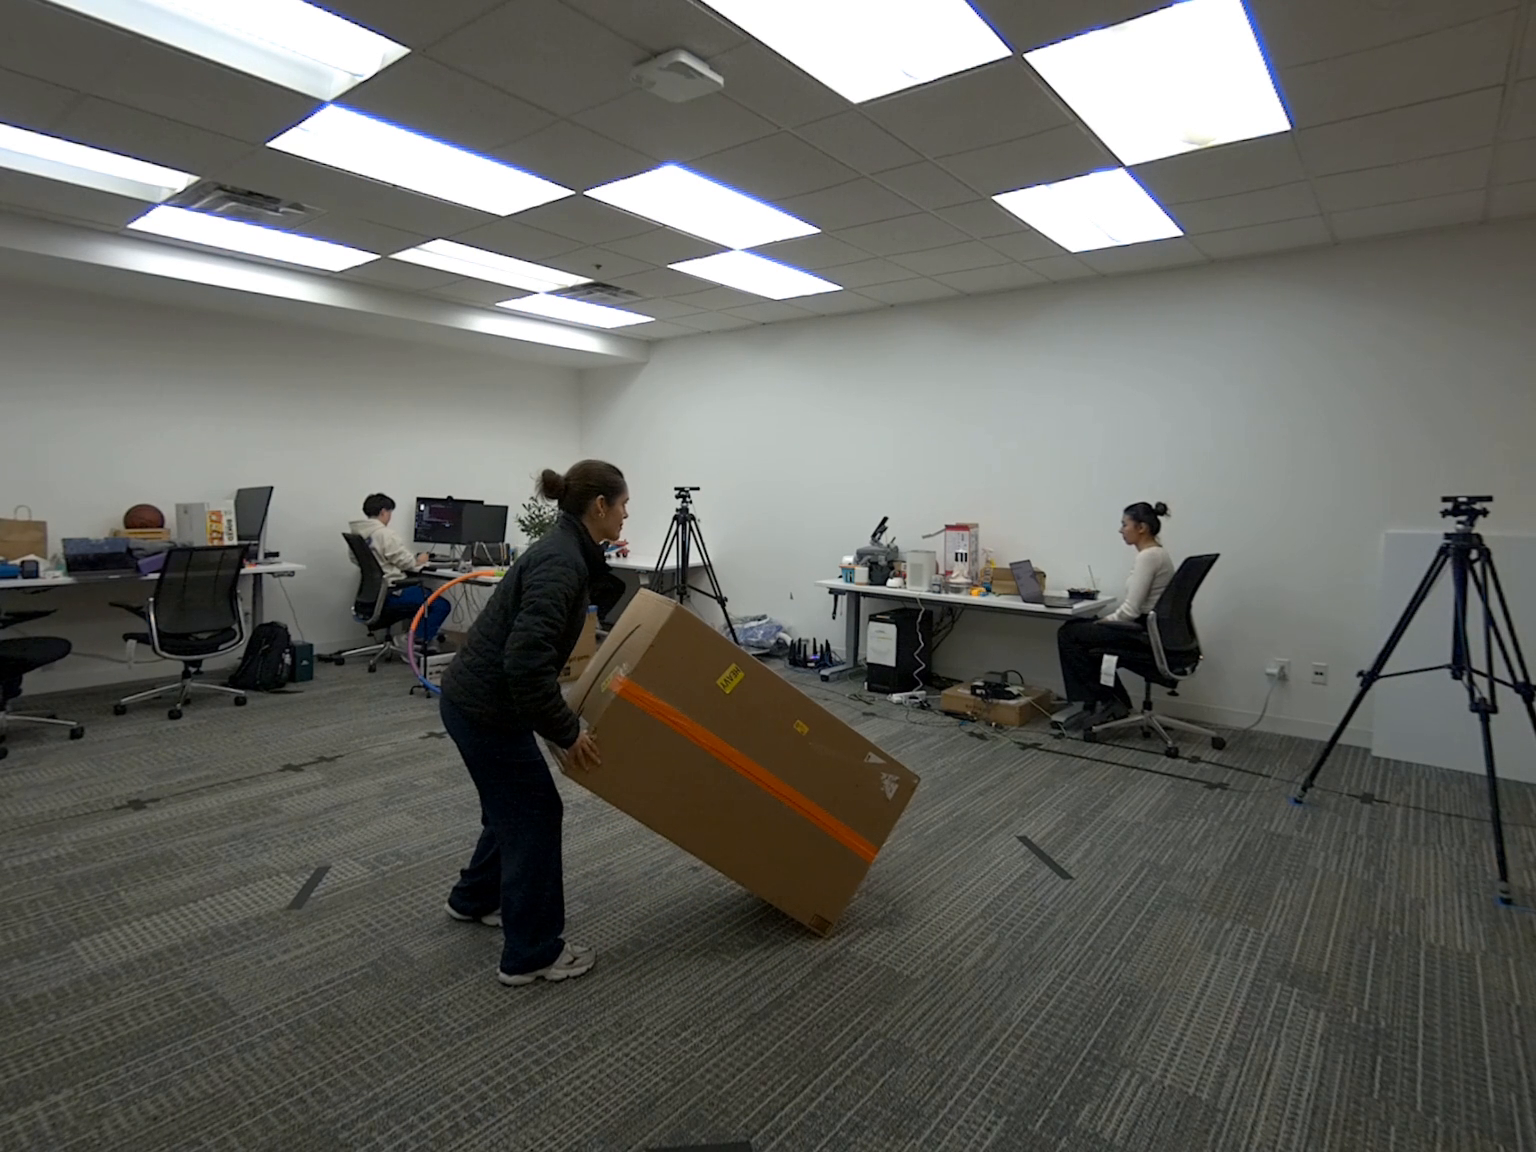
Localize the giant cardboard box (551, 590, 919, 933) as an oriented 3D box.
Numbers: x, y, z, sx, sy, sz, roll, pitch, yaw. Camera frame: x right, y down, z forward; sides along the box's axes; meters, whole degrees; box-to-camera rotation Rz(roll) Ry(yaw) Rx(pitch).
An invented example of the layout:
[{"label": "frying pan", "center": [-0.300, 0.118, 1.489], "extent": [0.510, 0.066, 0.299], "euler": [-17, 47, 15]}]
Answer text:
[{"label": "giant cardboard box", "center": [-0.105, 0.571, 2.746], "extent": [1.002, 0.585, 0.457], "euler": [38, -9, -18]}]
